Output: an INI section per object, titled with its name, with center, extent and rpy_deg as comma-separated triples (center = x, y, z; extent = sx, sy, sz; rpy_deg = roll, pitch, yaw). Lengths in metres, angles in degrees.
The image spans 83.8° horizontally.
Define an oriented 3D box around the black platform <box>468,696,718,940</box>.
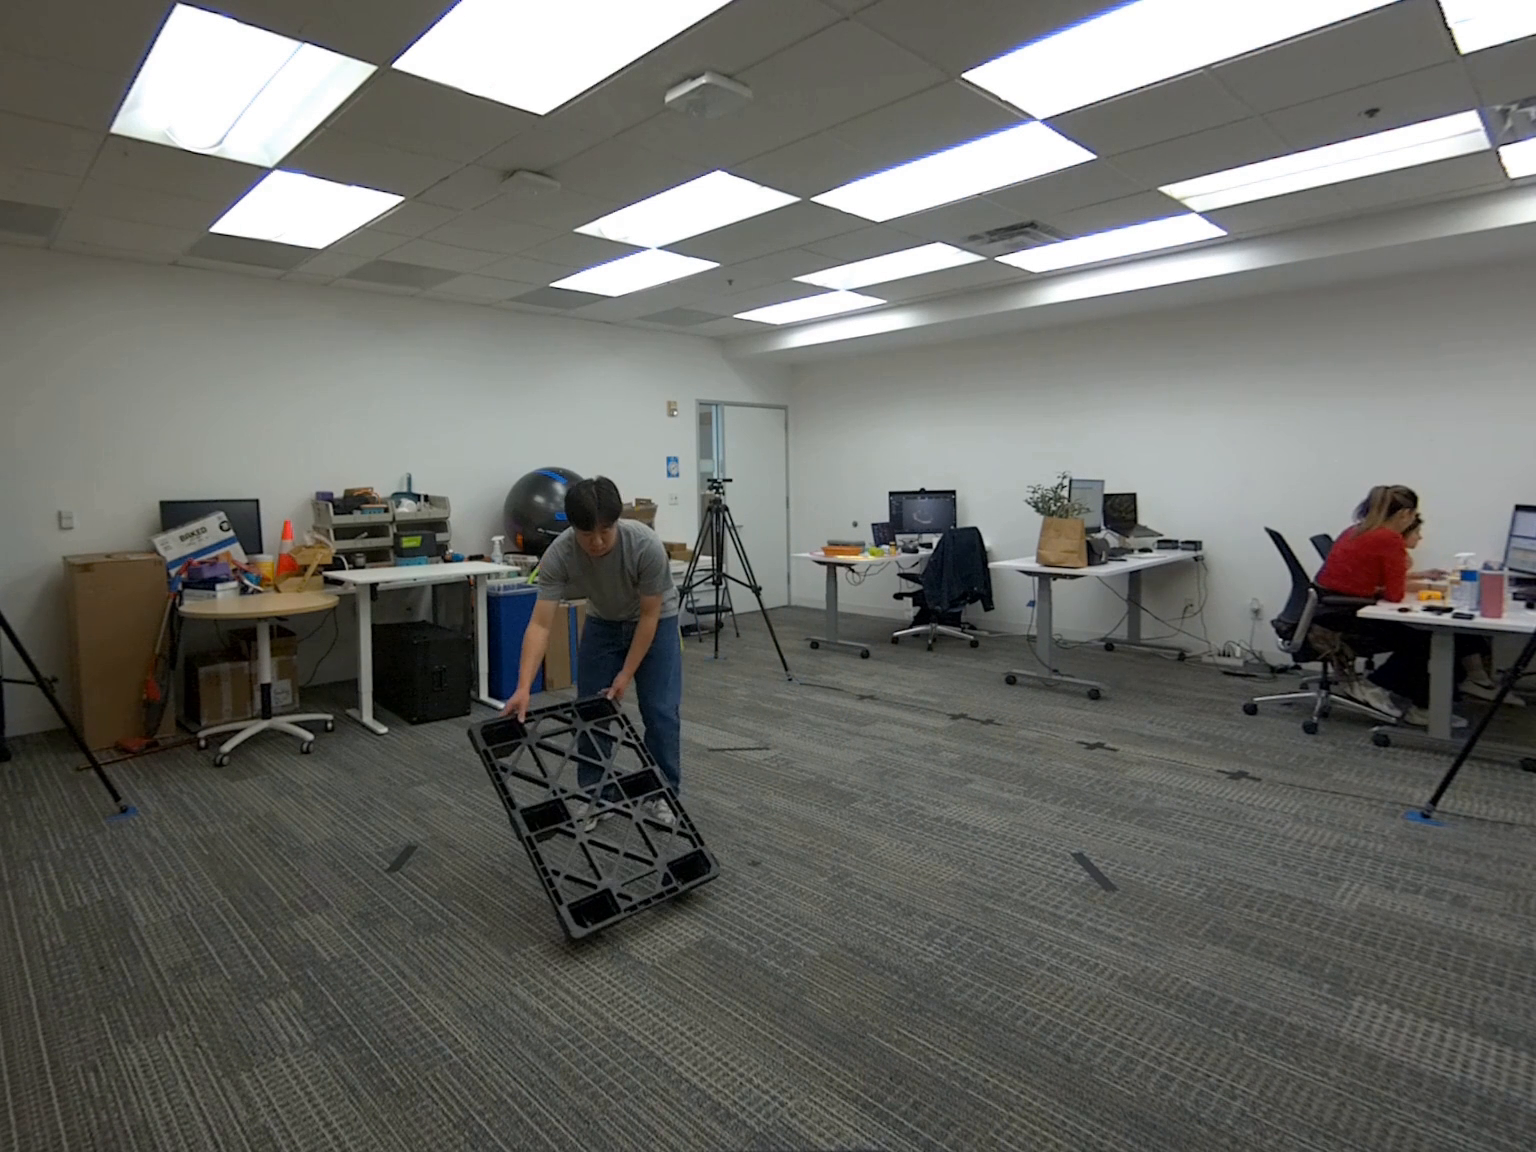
[black platform]
center = -0.610, 0.792, 2.918
extent = 0.589, 0.142, 0.833
rpy_deg = -6, 47, -44
